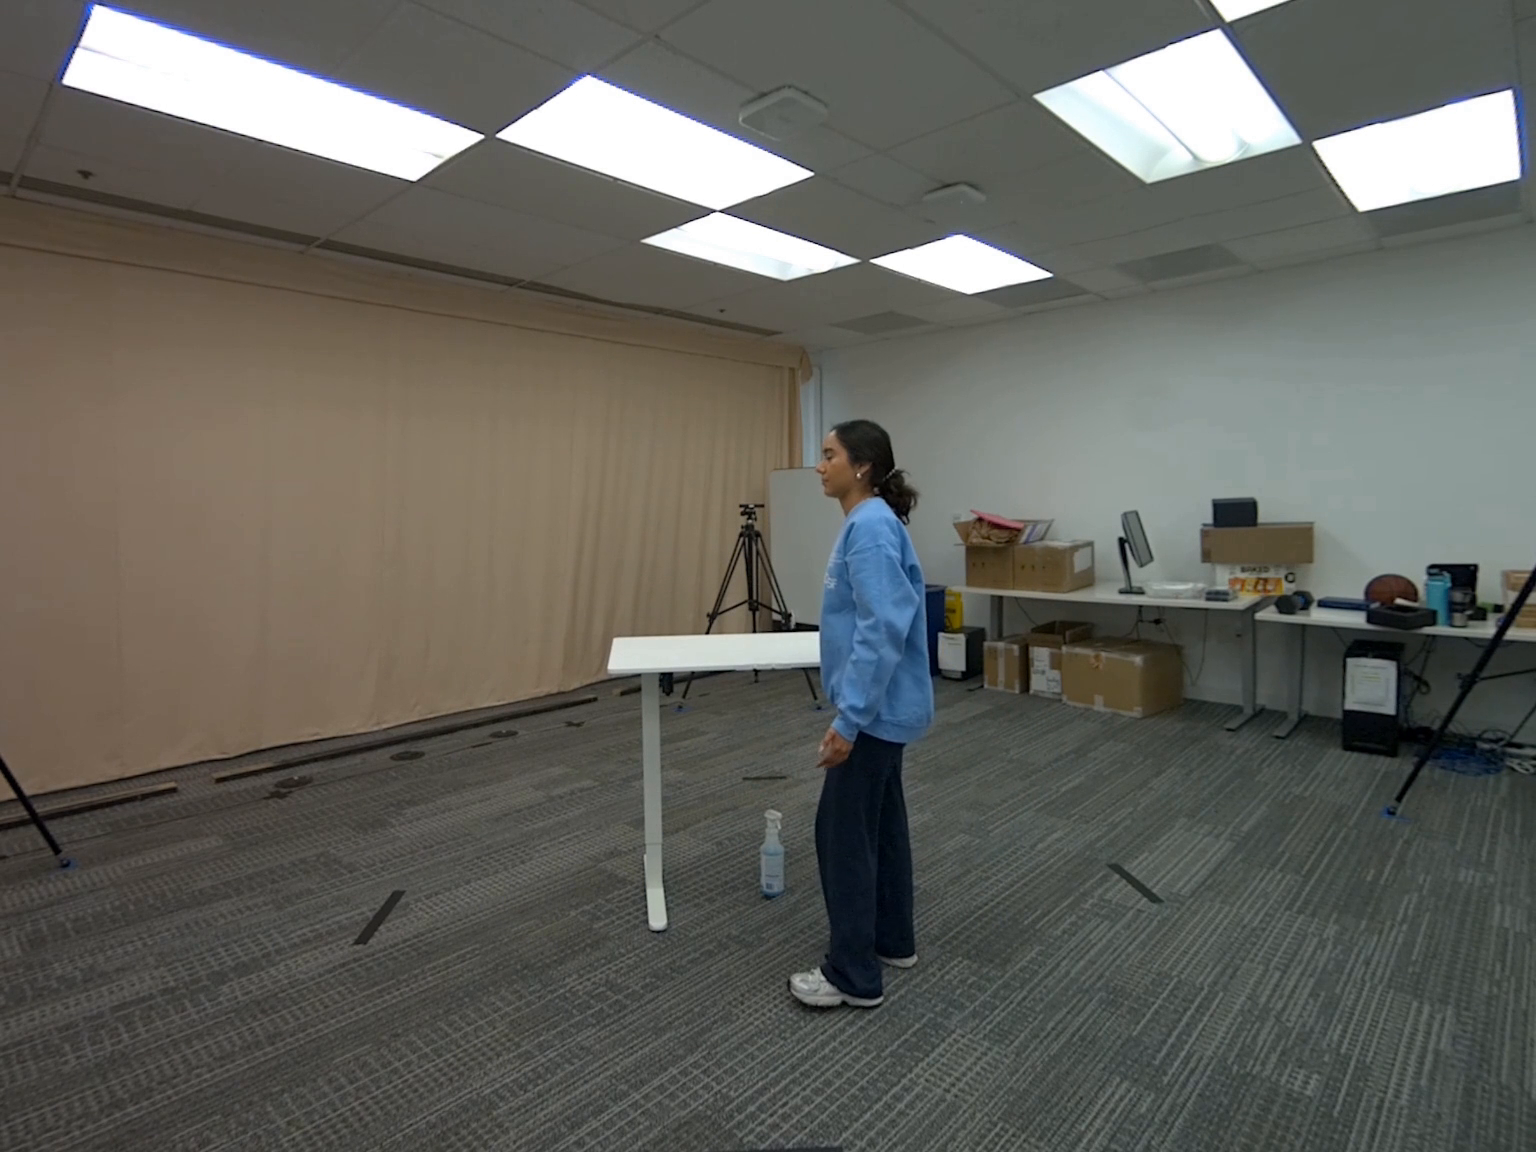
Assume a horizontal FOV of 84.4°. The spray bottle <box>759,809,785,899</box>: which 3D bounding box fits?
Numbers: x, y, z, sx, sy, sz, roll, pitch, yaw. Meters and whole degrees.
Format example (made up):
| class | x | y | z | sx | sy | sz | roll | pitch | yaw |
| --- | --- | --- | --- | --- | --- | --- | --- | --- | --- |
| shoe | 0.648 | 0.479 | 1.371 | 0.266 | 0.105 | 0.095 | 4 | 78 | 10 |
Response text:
| class | x | y | z | sx | sy | sz | roll | pitch | yaw |
| --- | --- | --- | --- | --- | --- | --- | --- | --- | --- |
| spray bottle | 0.019 | 0.991 | 3.017 | 0.086 | 0.297 | 0.091 | 1 | 2 | -10 |
